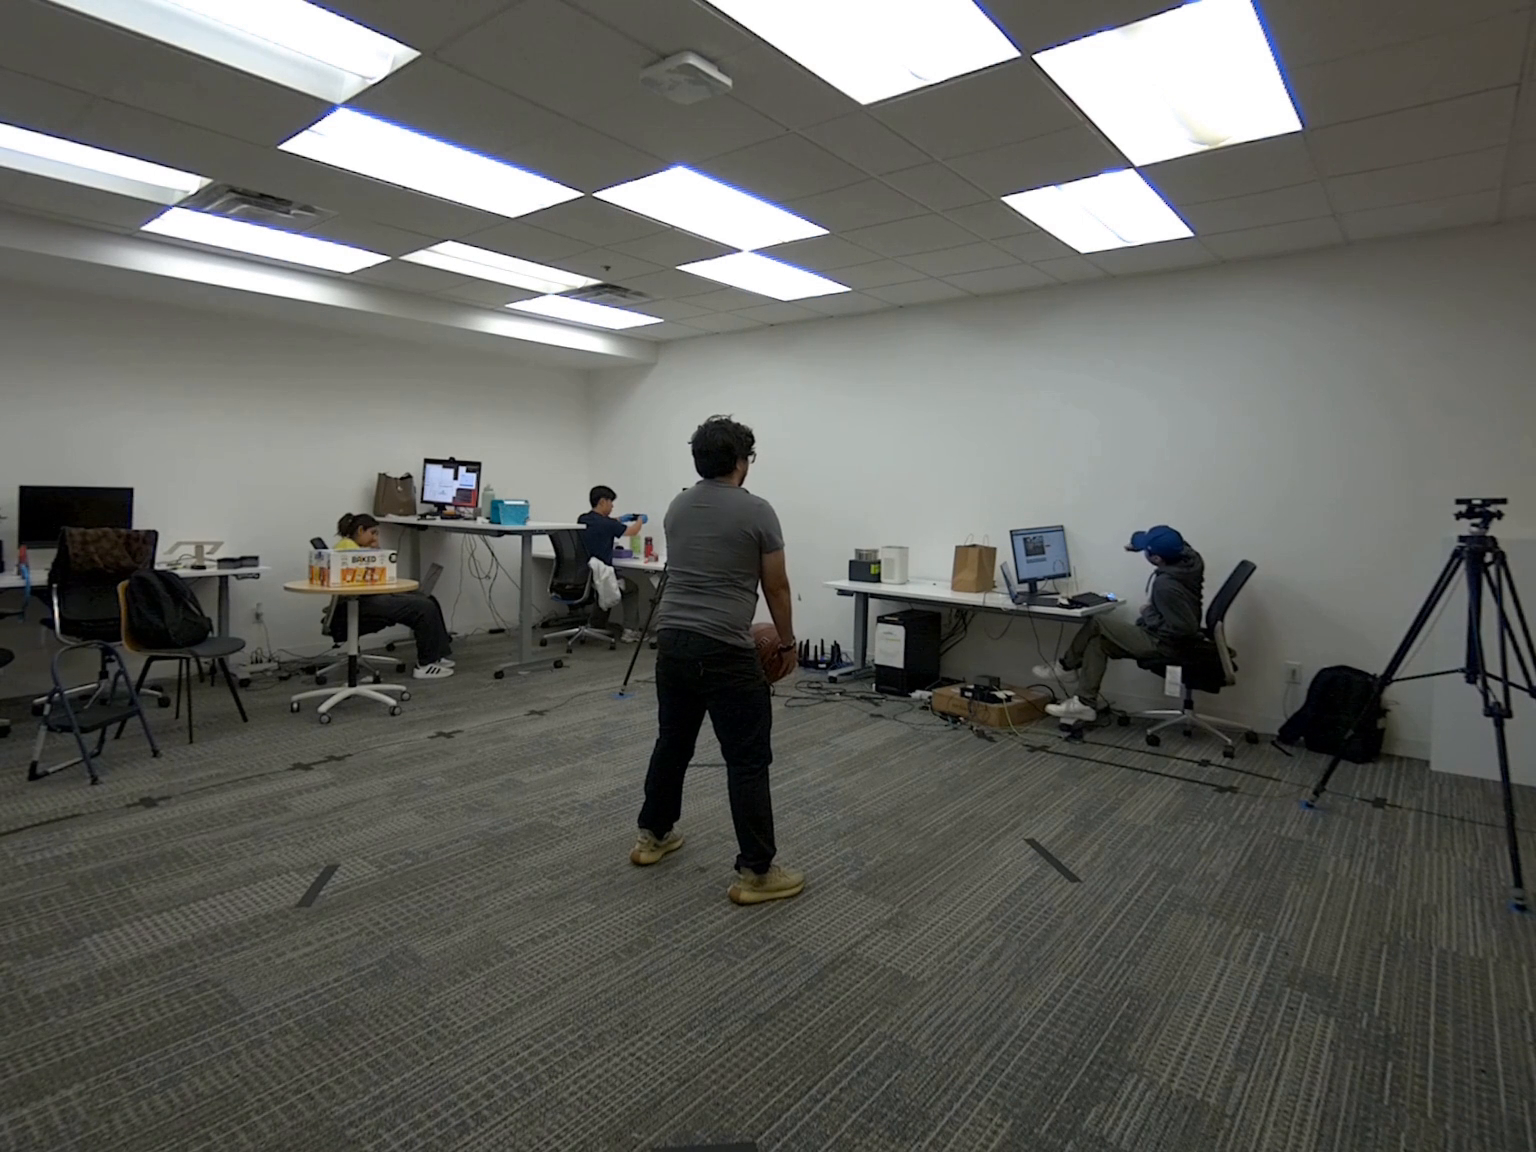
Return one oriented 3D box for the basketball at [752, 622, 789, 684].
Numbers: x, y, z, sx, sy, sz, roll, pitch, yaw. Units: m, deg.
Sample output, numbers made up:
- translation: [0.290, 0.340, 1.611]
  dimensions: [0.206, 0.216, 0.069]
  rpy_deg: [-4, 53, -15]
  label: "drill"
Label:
- translation: [-0.024, 0.292, 3.293]
  dimensions: [0.235, 0.235, 0.237]
  rpy_deg: [1, 4, -2]
  label: "basketball"
